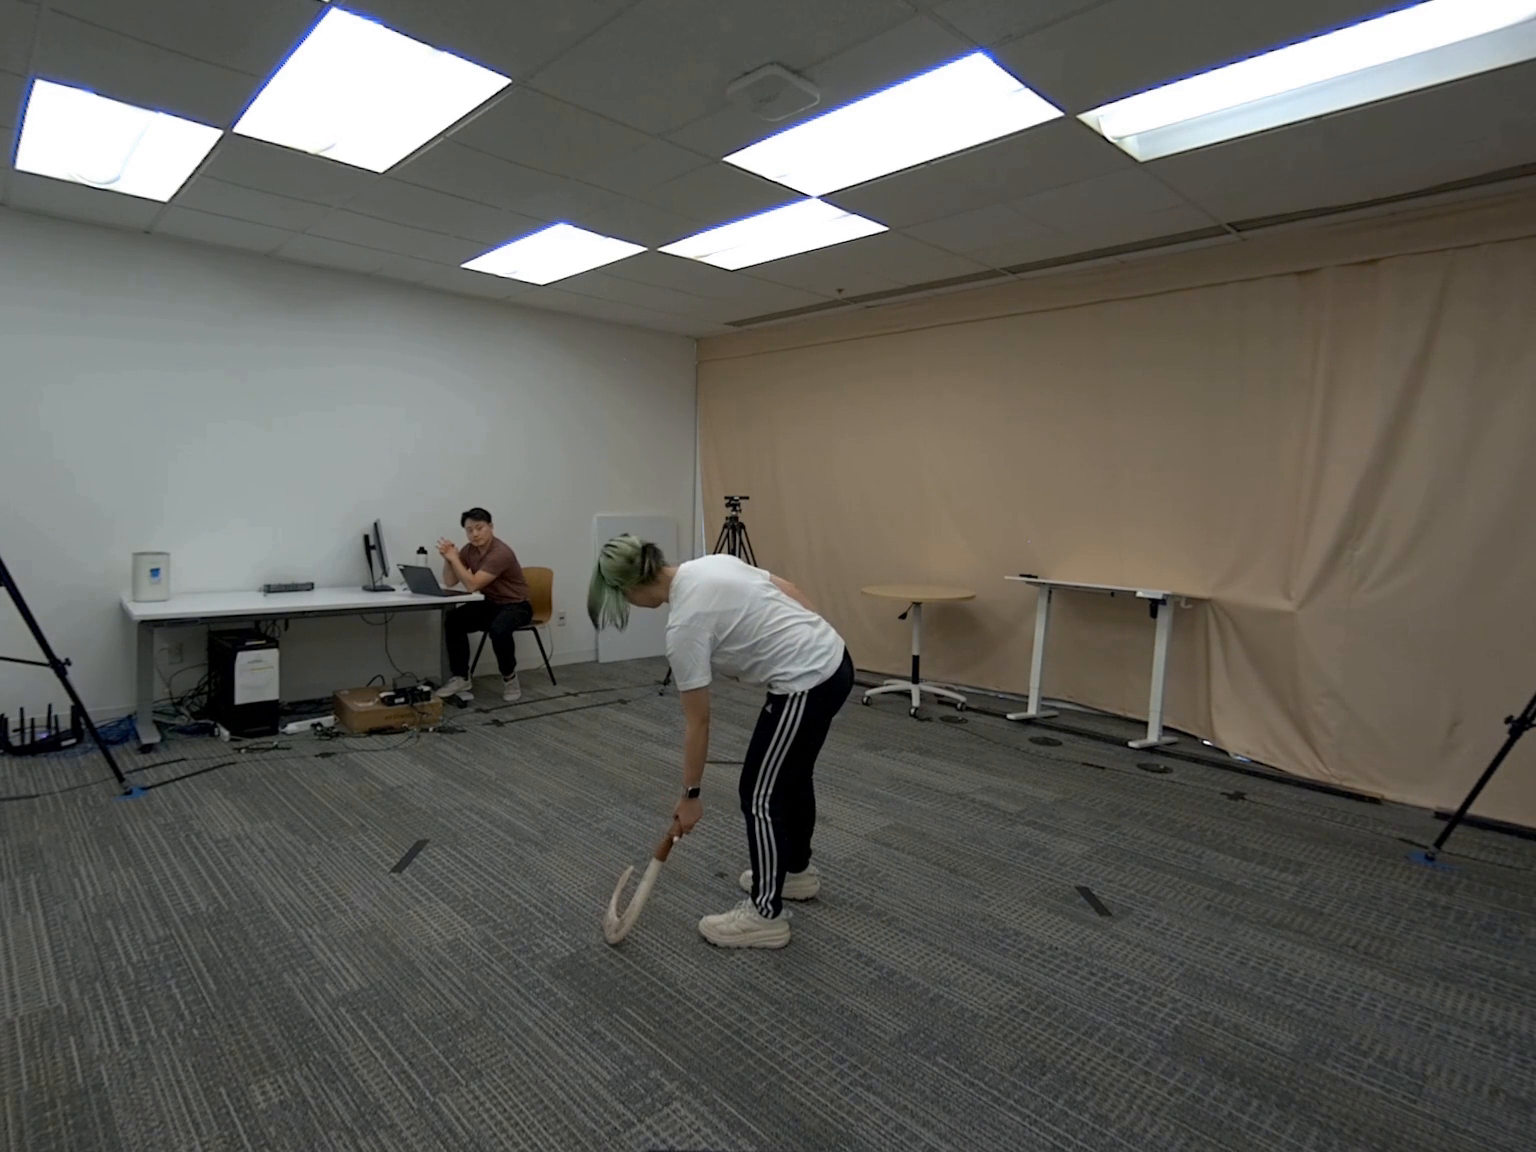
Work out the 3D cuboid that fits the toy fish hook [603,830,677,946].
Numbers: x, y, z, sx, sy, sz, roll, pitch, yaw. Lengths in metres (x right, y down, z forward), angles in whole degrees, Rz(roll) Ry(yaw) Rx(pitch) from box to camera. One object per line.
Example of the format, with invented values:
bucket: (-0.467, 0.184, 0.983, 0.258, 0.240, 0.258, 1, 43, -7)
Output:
toy fish hook: (-0.384, 0.910, 2.657, 0.047, 0.507, 0.230, 33, -1, -24)
